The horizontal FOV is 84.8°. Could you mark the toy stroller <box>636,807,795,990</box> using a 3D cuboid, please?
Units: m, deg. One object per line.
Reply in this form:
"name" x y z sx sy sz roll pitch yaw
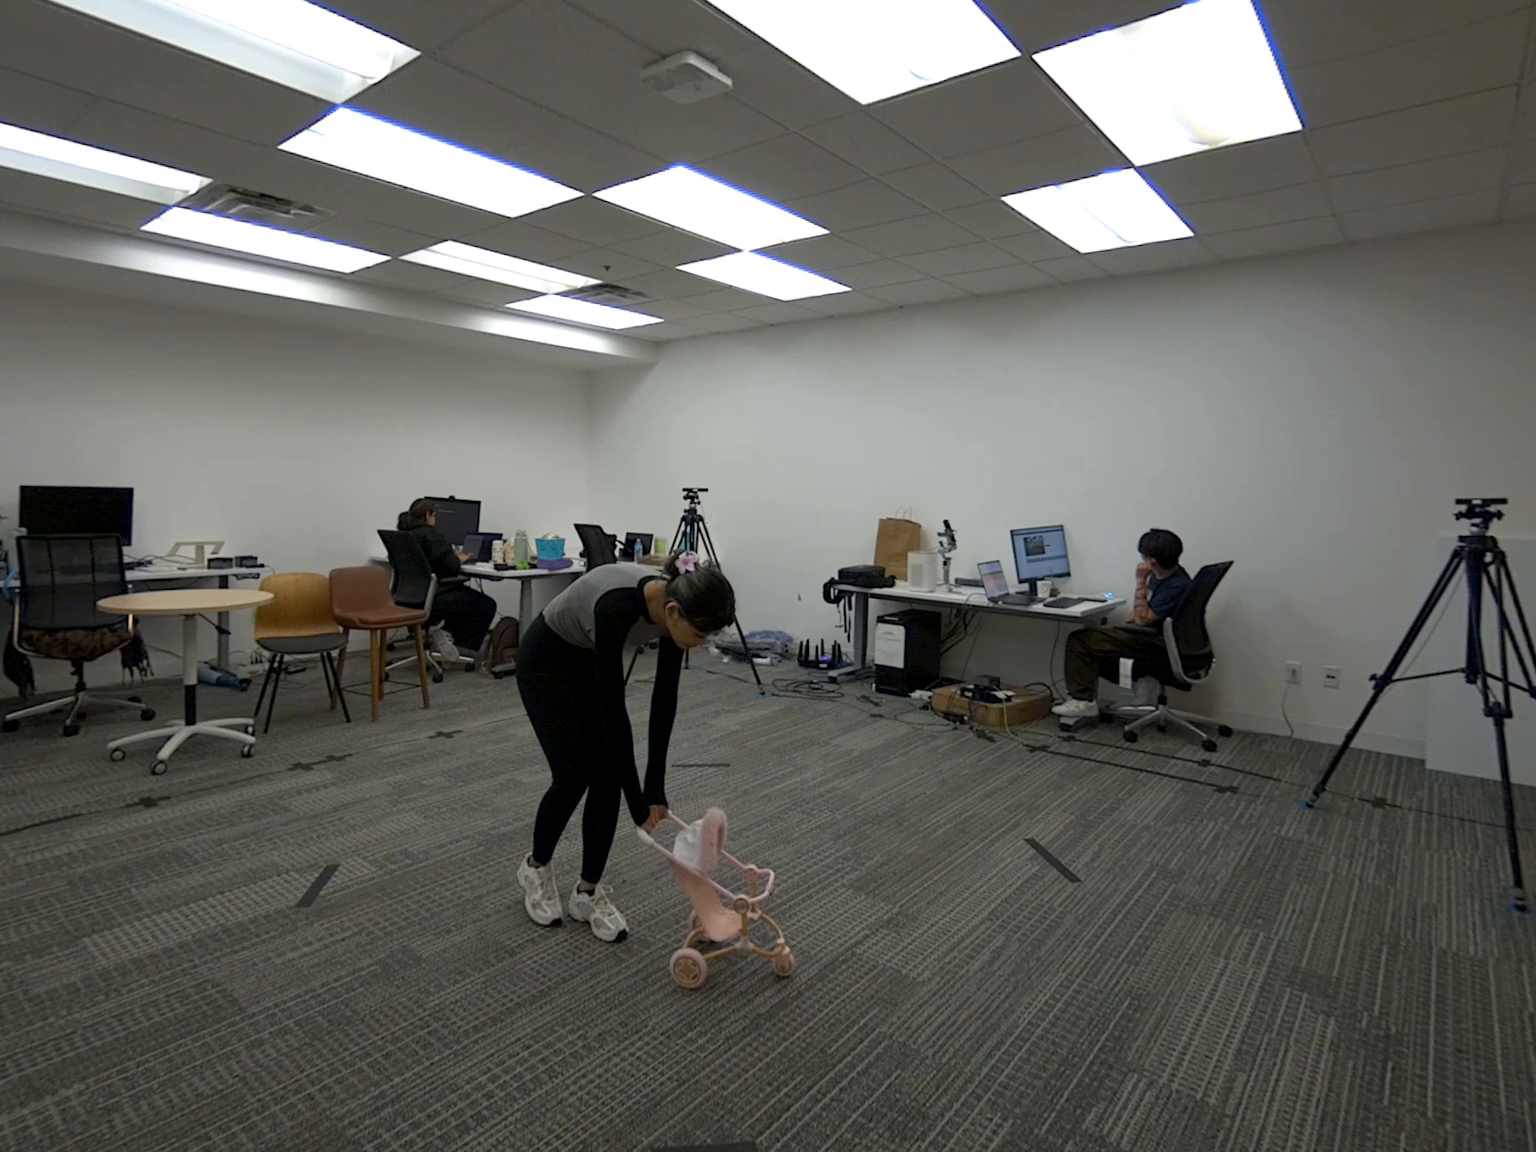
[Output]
"toy stroller" -0.149 0.912 2.459 0.345 0.535 0.278 -16 0 15
